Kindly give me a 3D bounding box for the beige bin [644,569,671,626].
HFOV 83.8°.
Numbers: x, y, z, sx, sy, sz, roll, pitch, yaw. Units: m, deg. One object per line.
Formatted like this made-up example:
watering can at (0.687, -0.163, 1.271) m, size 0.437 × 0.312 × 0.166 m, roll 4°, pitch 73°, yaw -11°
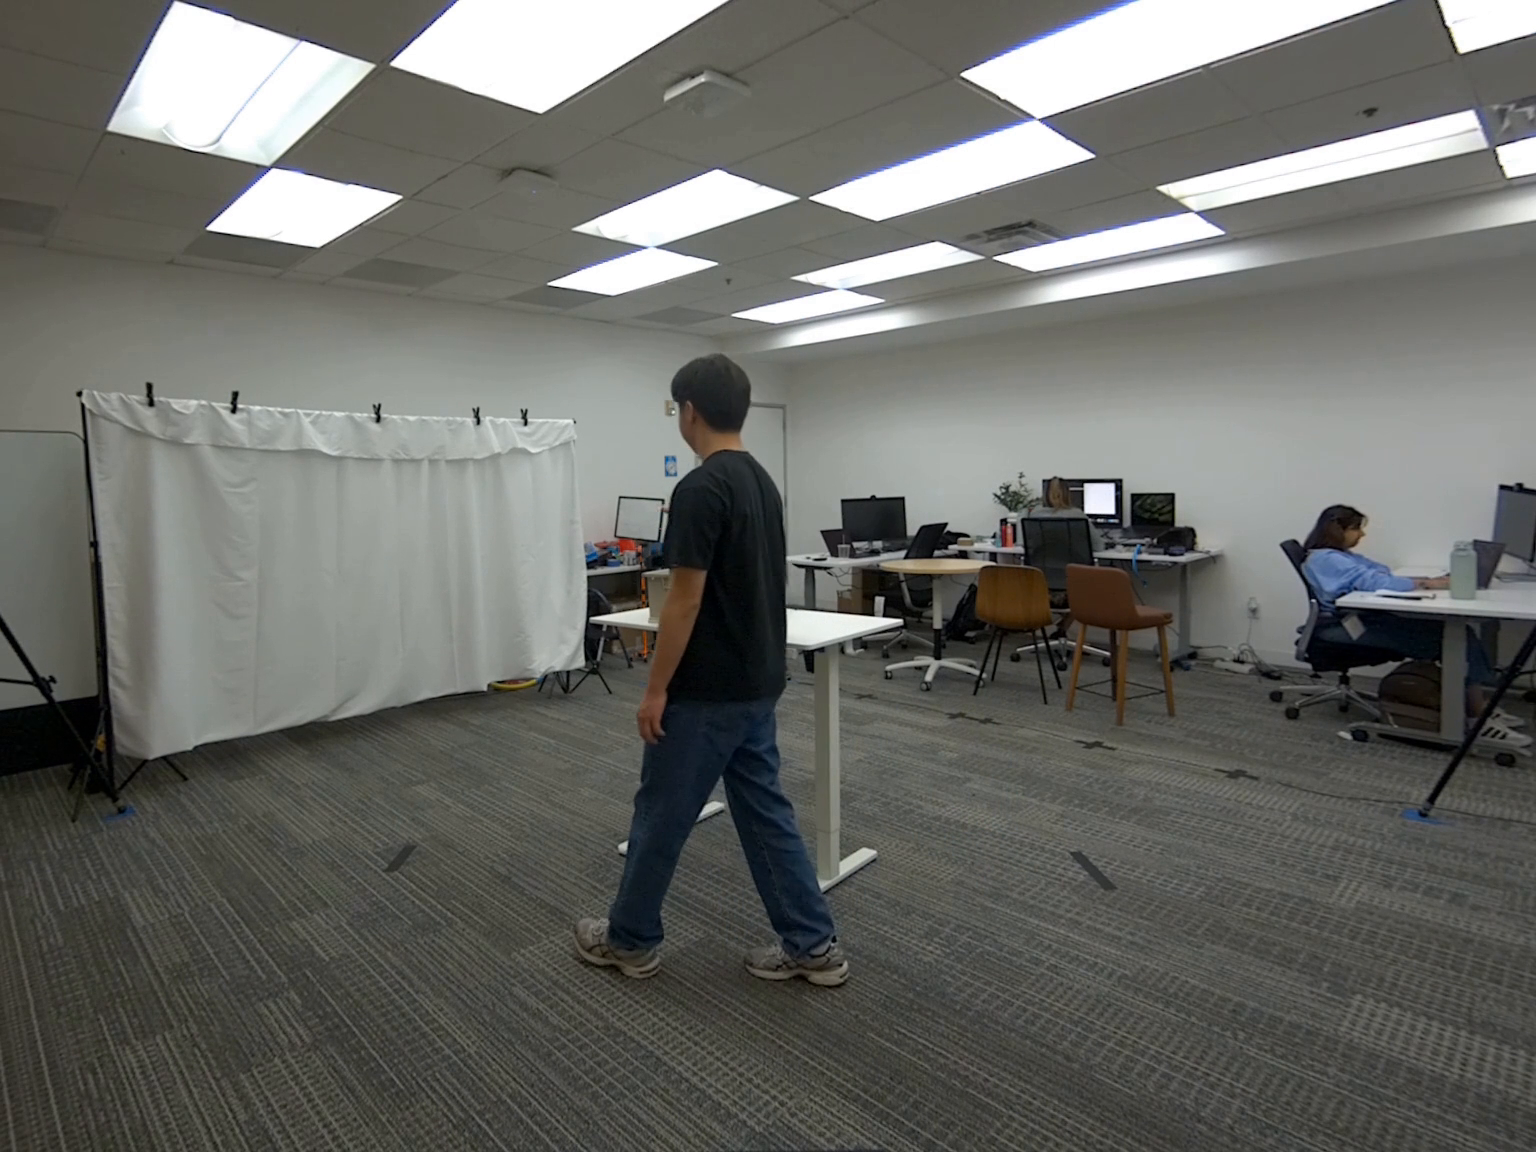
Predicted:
beige bin at (-0.183, 0.069, 3.166) m, size 0.387 × 0.188 × 0.413 m, roll 0°, pitch 6°, yaw 28°
